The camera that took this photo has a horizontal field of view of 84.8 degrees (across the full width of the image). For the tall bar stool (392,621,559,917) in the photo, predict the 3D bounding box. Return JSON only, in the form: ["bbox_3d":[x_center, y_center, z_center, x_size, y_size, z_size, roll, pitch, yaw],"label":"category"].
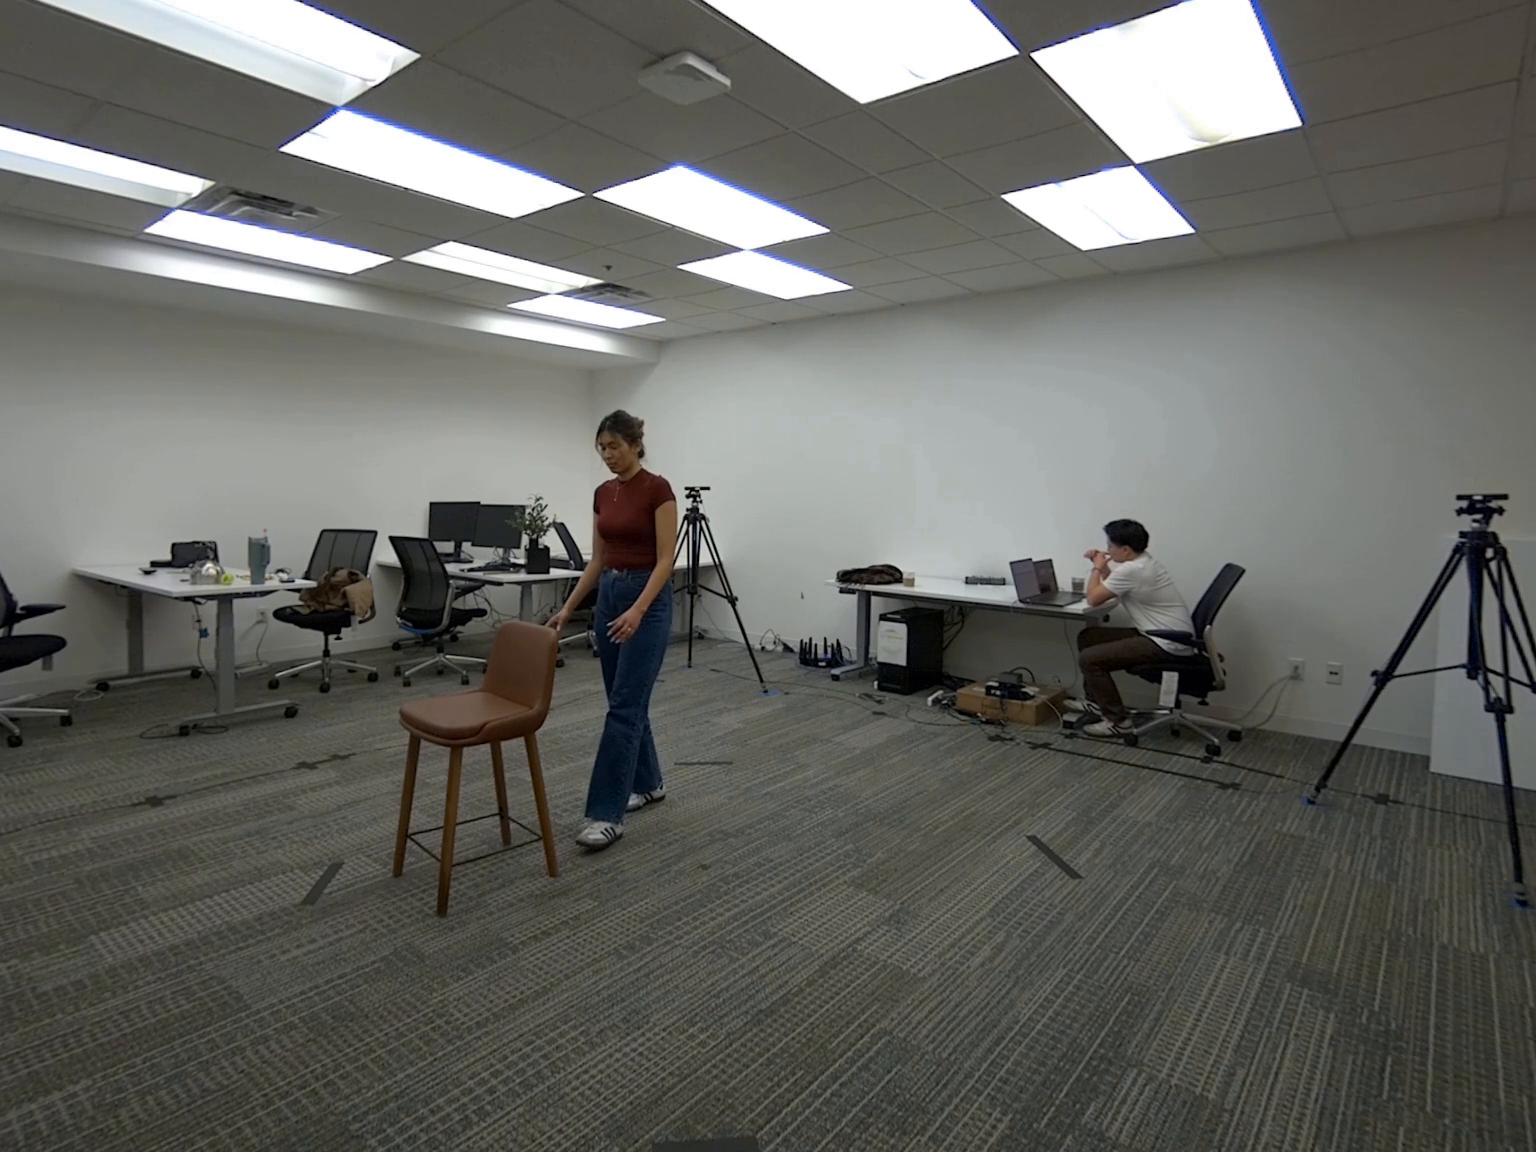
[{"bbox_3d":[-1.034,0.628,3.005,0.453,0.888,0.472,0,2,-44],"label":"tall bar stool"}]
